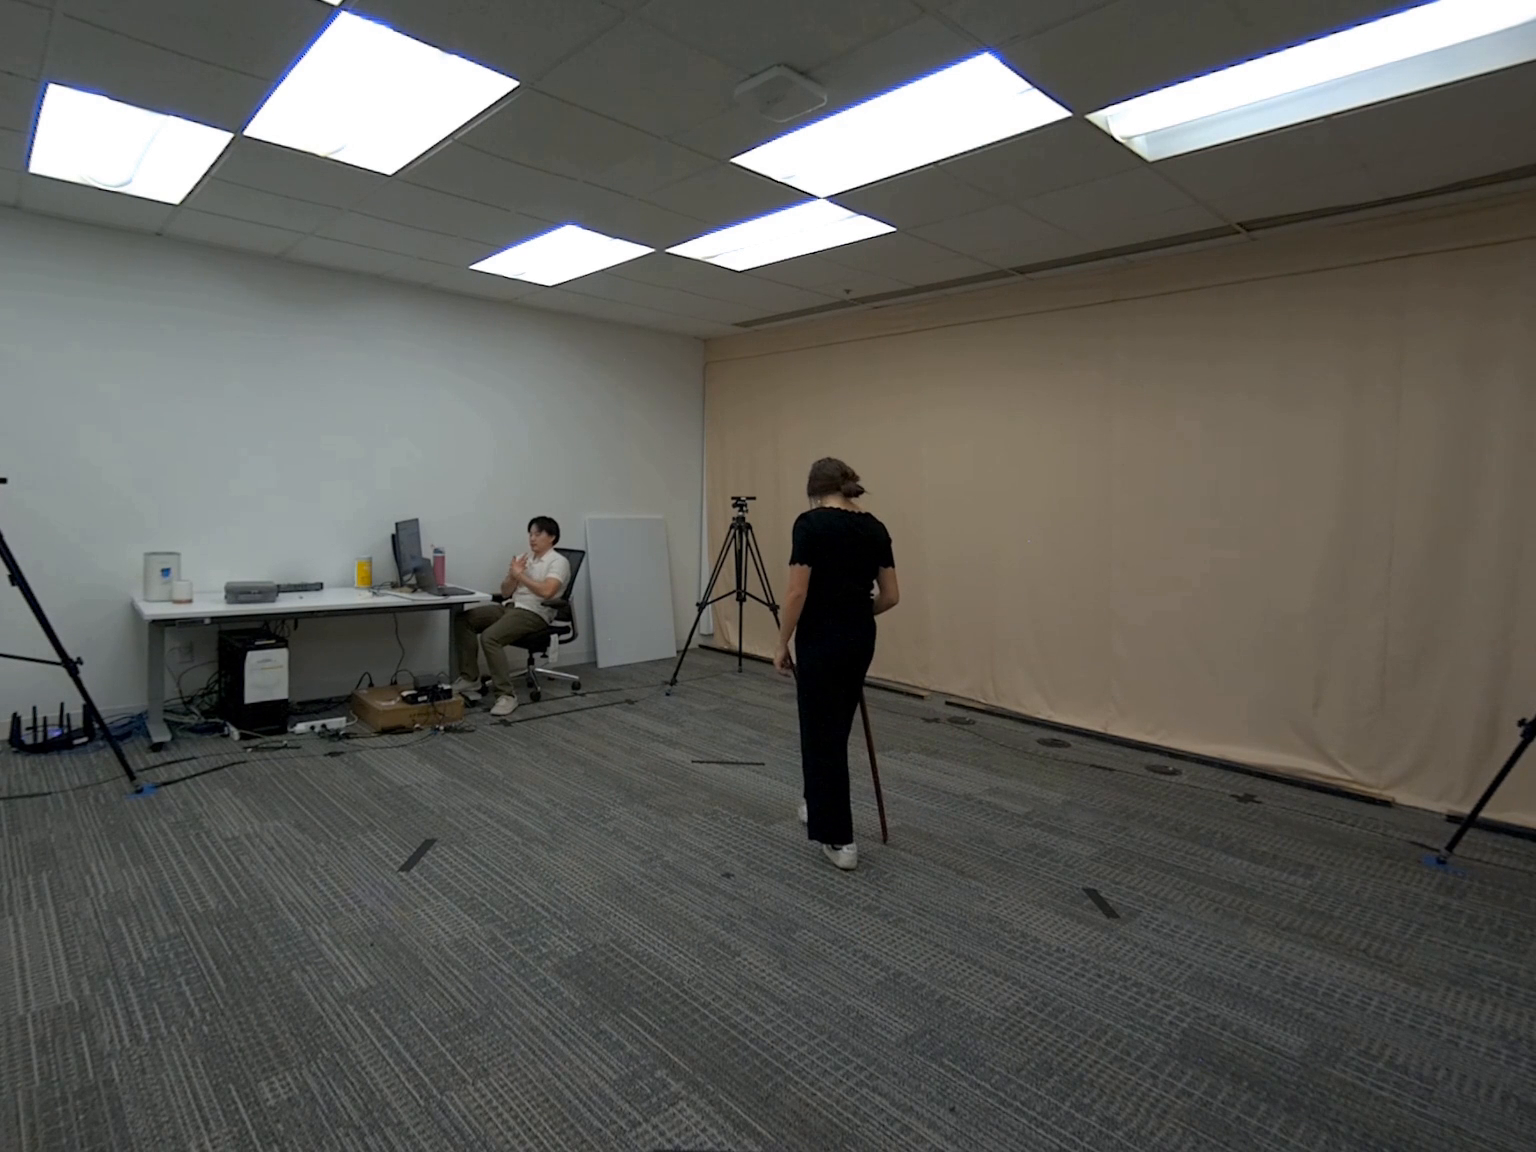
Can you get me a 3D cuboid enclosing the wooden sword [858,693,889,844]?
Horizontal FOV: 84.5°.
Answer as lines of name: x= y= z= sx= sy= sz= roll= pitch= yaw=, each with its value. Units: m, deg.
wooden sword: x=0.404 y=0.601 z=3.507 sx=0.024 sy=1.034 sz=0.050 roll=-17 pitch=-13 yaw=37
